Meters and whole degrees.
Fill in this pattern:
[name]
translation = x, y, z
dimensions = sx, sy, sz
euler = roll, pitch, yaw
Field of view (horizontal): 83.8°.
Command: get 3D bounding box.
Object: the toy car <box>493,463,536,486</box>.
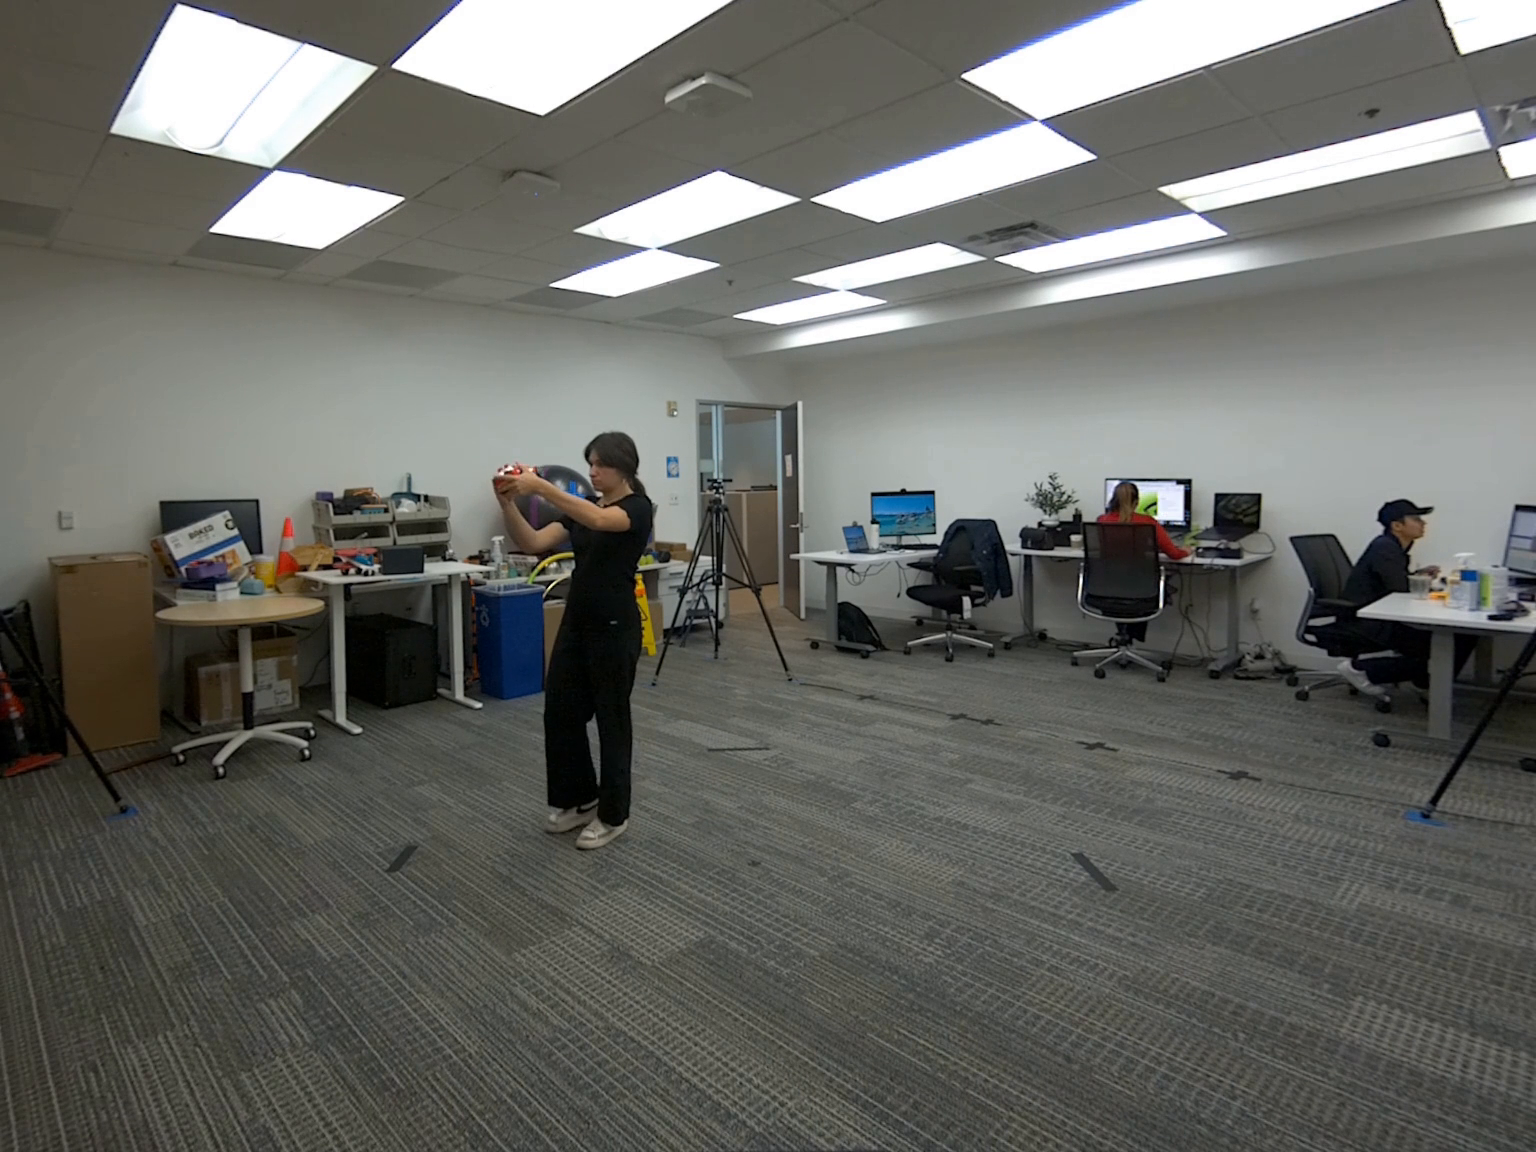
[toy car]
translation = -0.901, -0.352, 3.049
dimensions = 0.131, 0.084, 0.251
euler = -28, -7, 9
